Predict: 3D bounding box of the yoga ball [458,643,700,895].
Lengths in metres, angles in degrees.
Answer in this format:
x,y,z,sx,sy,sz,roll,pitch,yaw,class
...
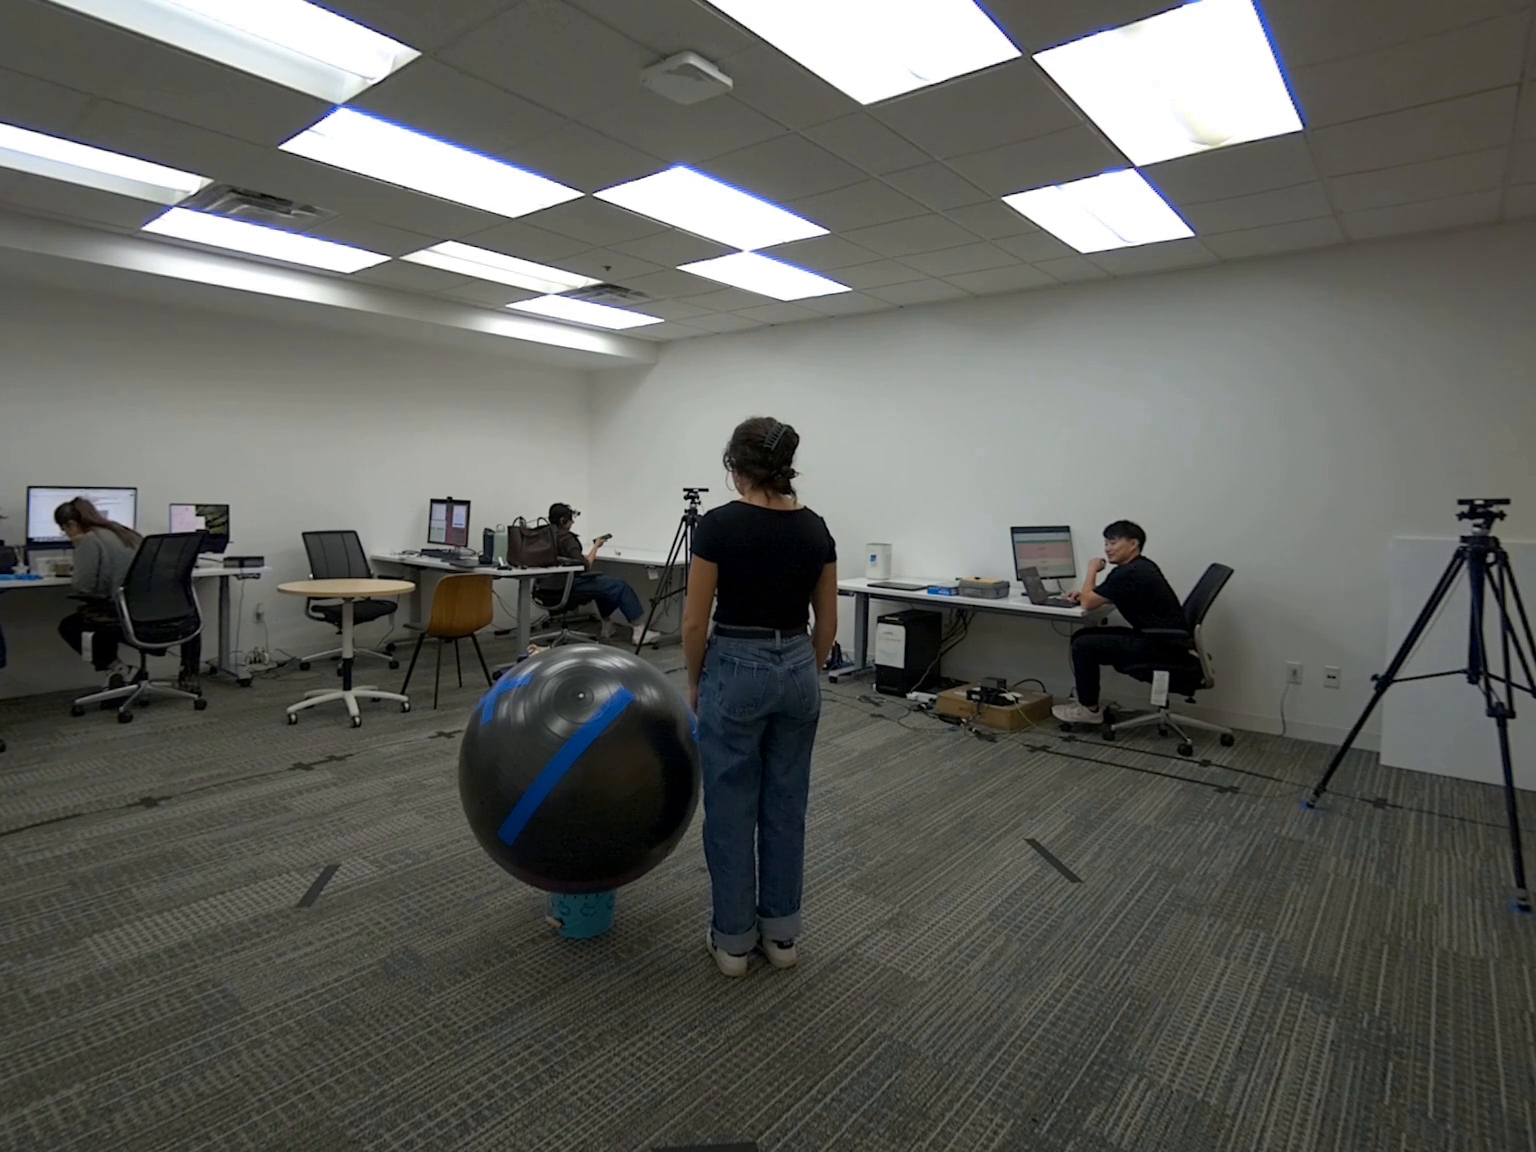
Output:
x,y,z,sx,sy,sz,roll,pitch,yaw,class
-0.592,0.605,2.667,0.757,0.755,0.762,1,4,-2,yoga ball
